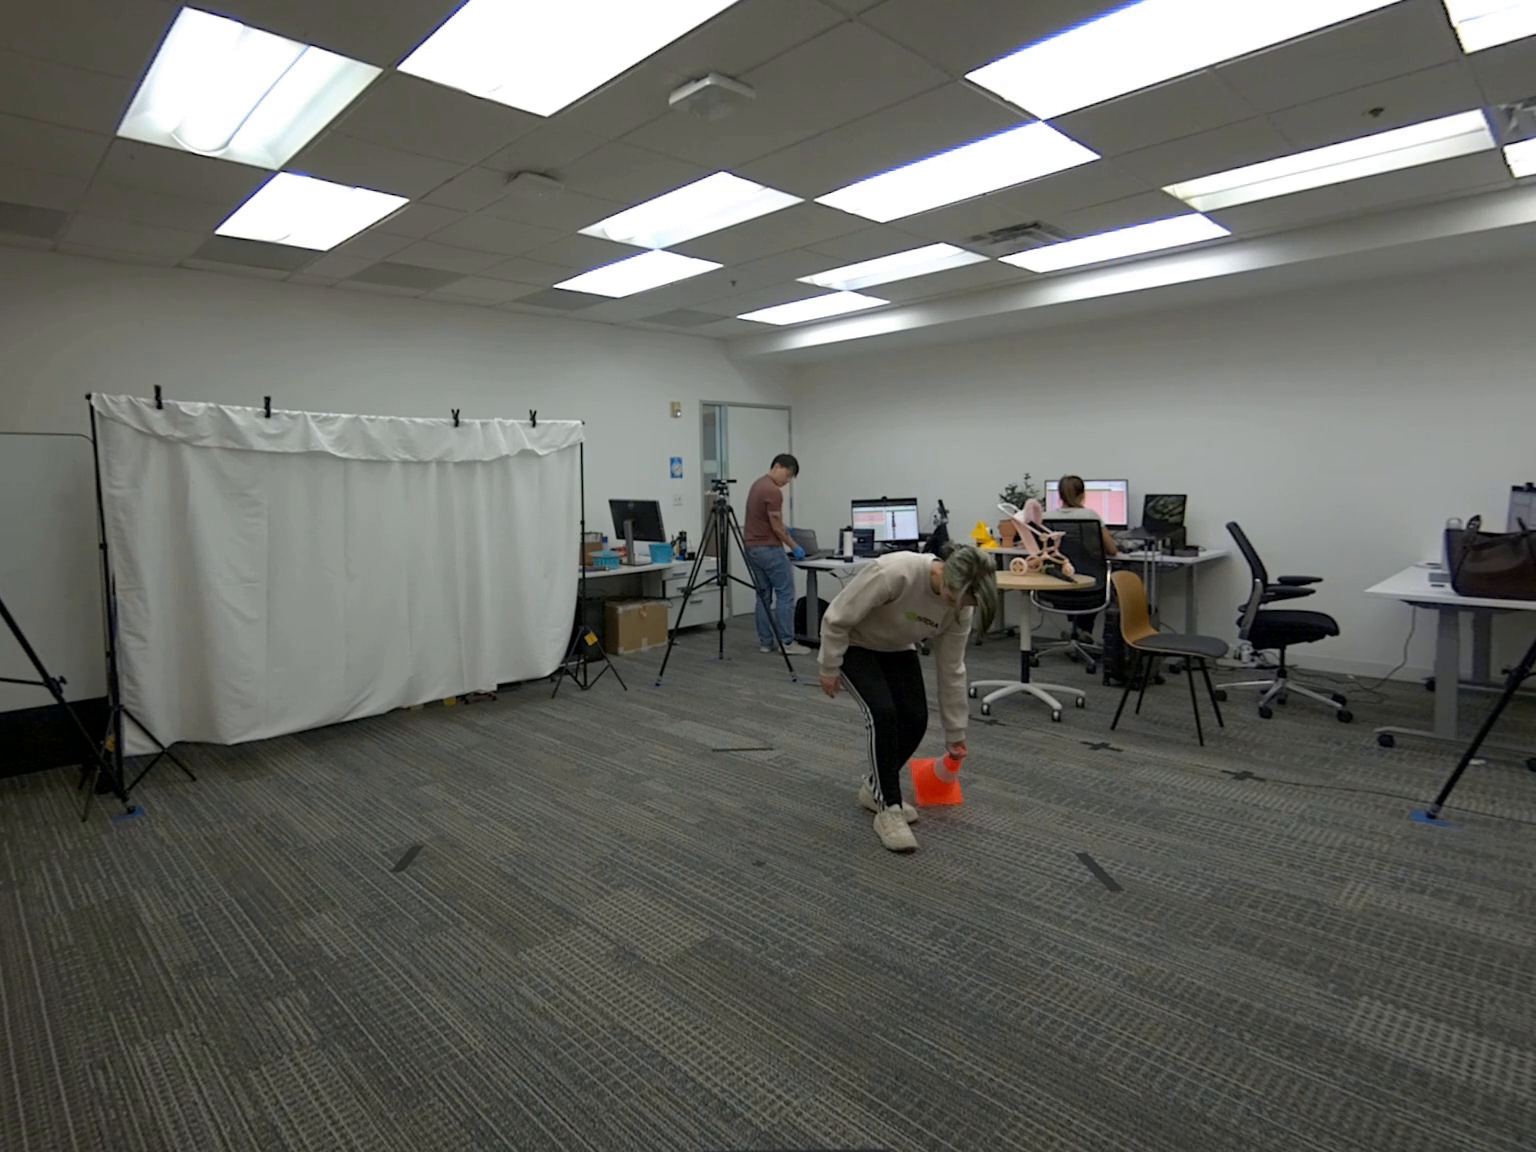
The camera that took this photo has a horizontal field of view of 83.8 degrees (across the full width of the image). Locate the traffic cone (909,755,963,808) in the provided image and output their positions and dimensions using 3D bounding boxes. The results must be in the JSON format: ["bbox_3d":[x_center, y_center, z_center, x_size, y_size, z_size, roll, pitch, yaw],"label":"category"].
[{"bbox_3d":[0.740,0.791,3.523,0.204,0.208,0.376,1,-31,-7],"label":"traffic cone"}]
